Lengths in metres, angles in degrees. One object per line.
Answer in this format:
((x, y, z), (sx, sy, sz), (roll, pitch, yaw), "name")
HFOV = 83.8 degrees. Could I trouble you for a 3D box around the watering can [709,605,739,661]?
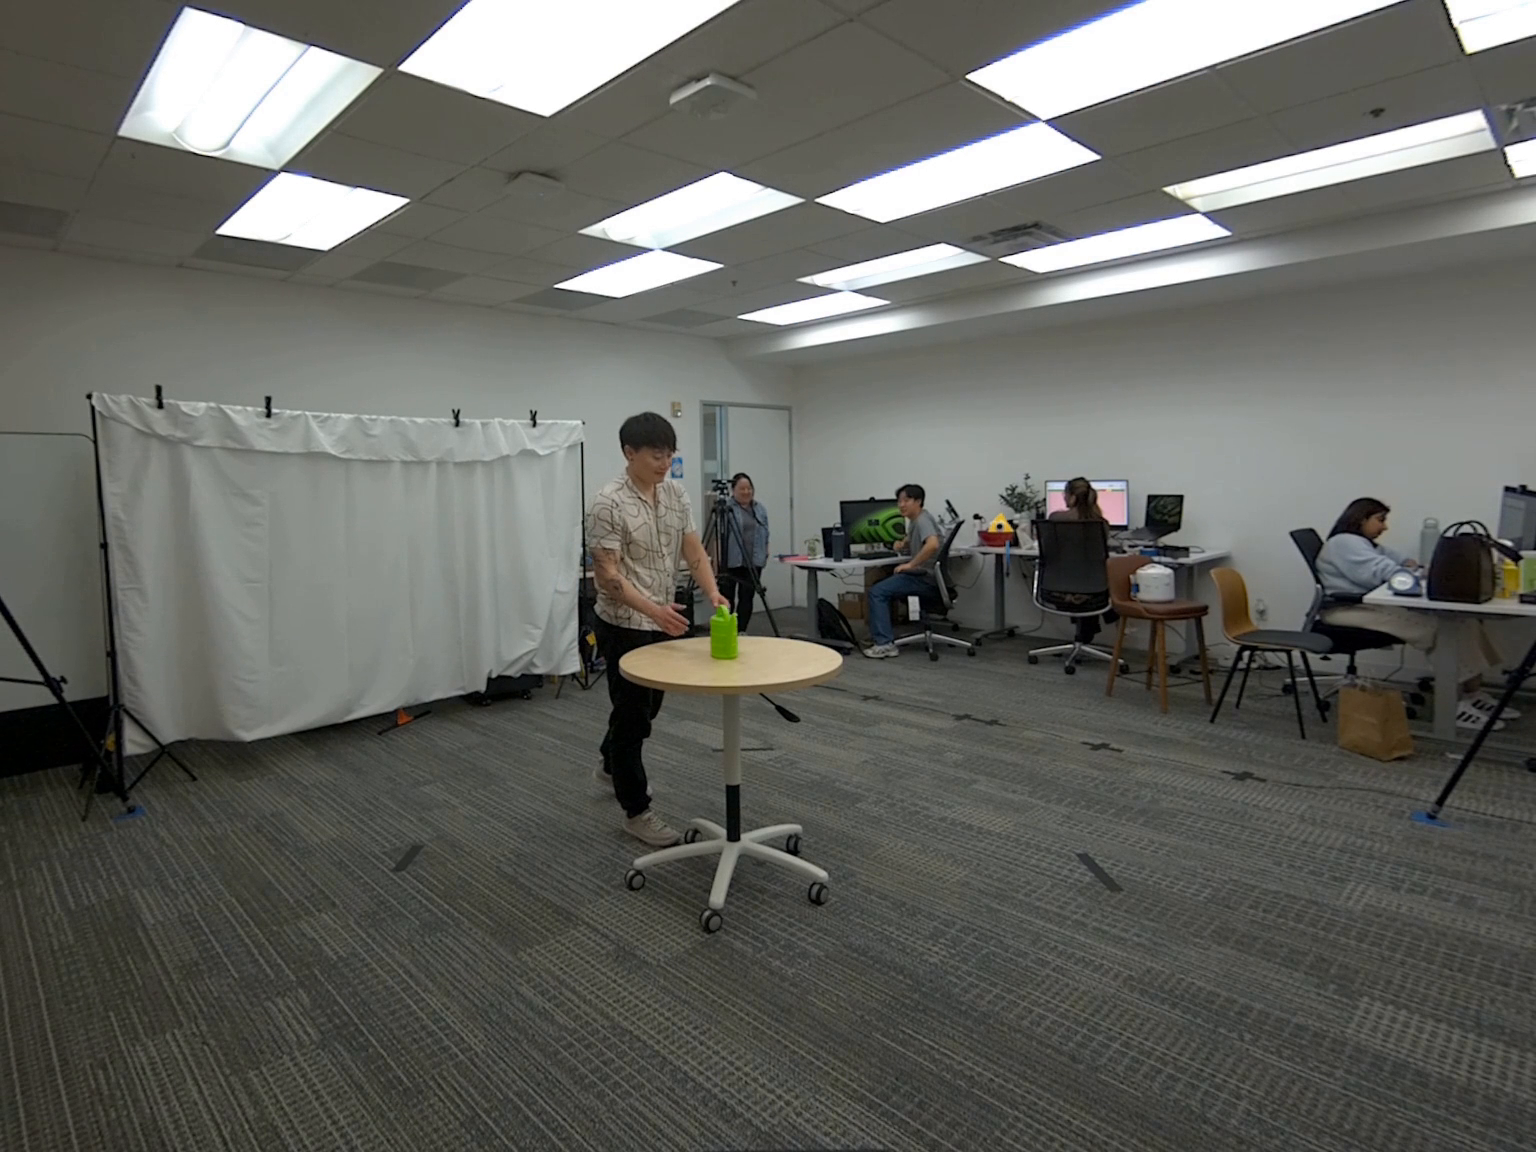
((-0.152, 0.204, 2.935), (0.098, 0.176, 0.279), (-5, 6, 1), "watering can")
